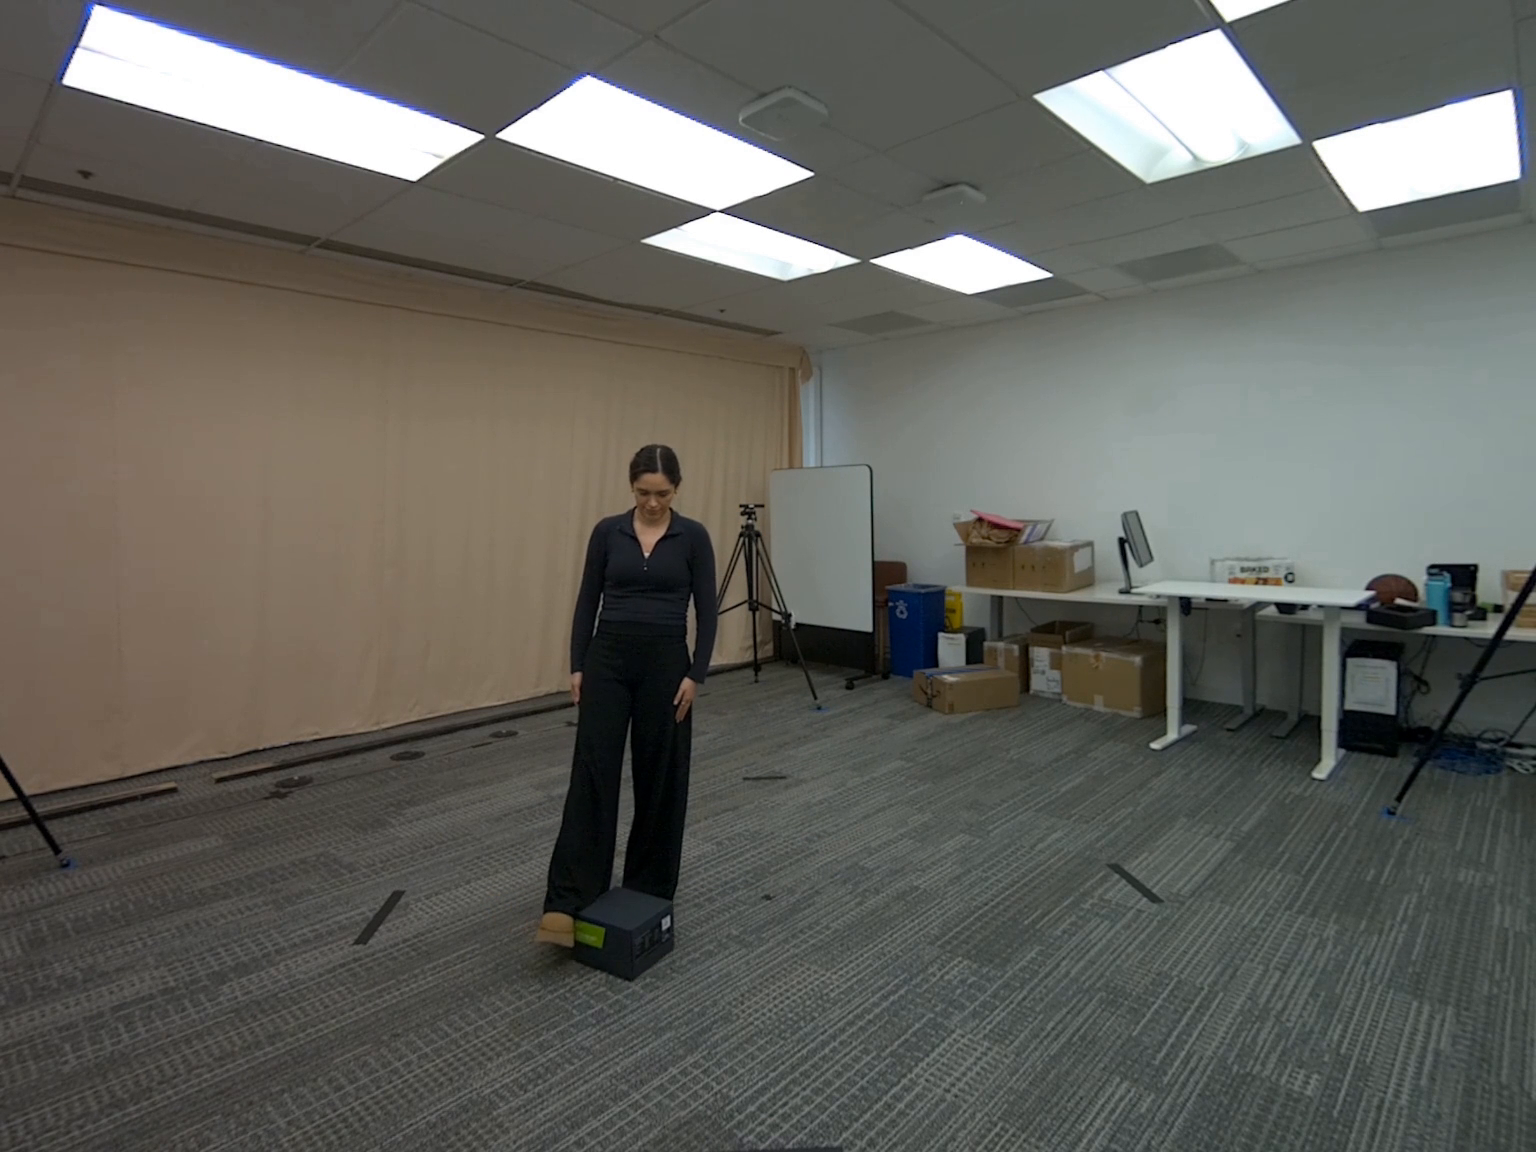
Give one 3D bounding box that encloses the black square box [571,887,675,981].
[{"bbox_3d":[-0.444,1.095,2.605,0.234,0.155,0.211,1,6,31],"label":"black square box"}]
